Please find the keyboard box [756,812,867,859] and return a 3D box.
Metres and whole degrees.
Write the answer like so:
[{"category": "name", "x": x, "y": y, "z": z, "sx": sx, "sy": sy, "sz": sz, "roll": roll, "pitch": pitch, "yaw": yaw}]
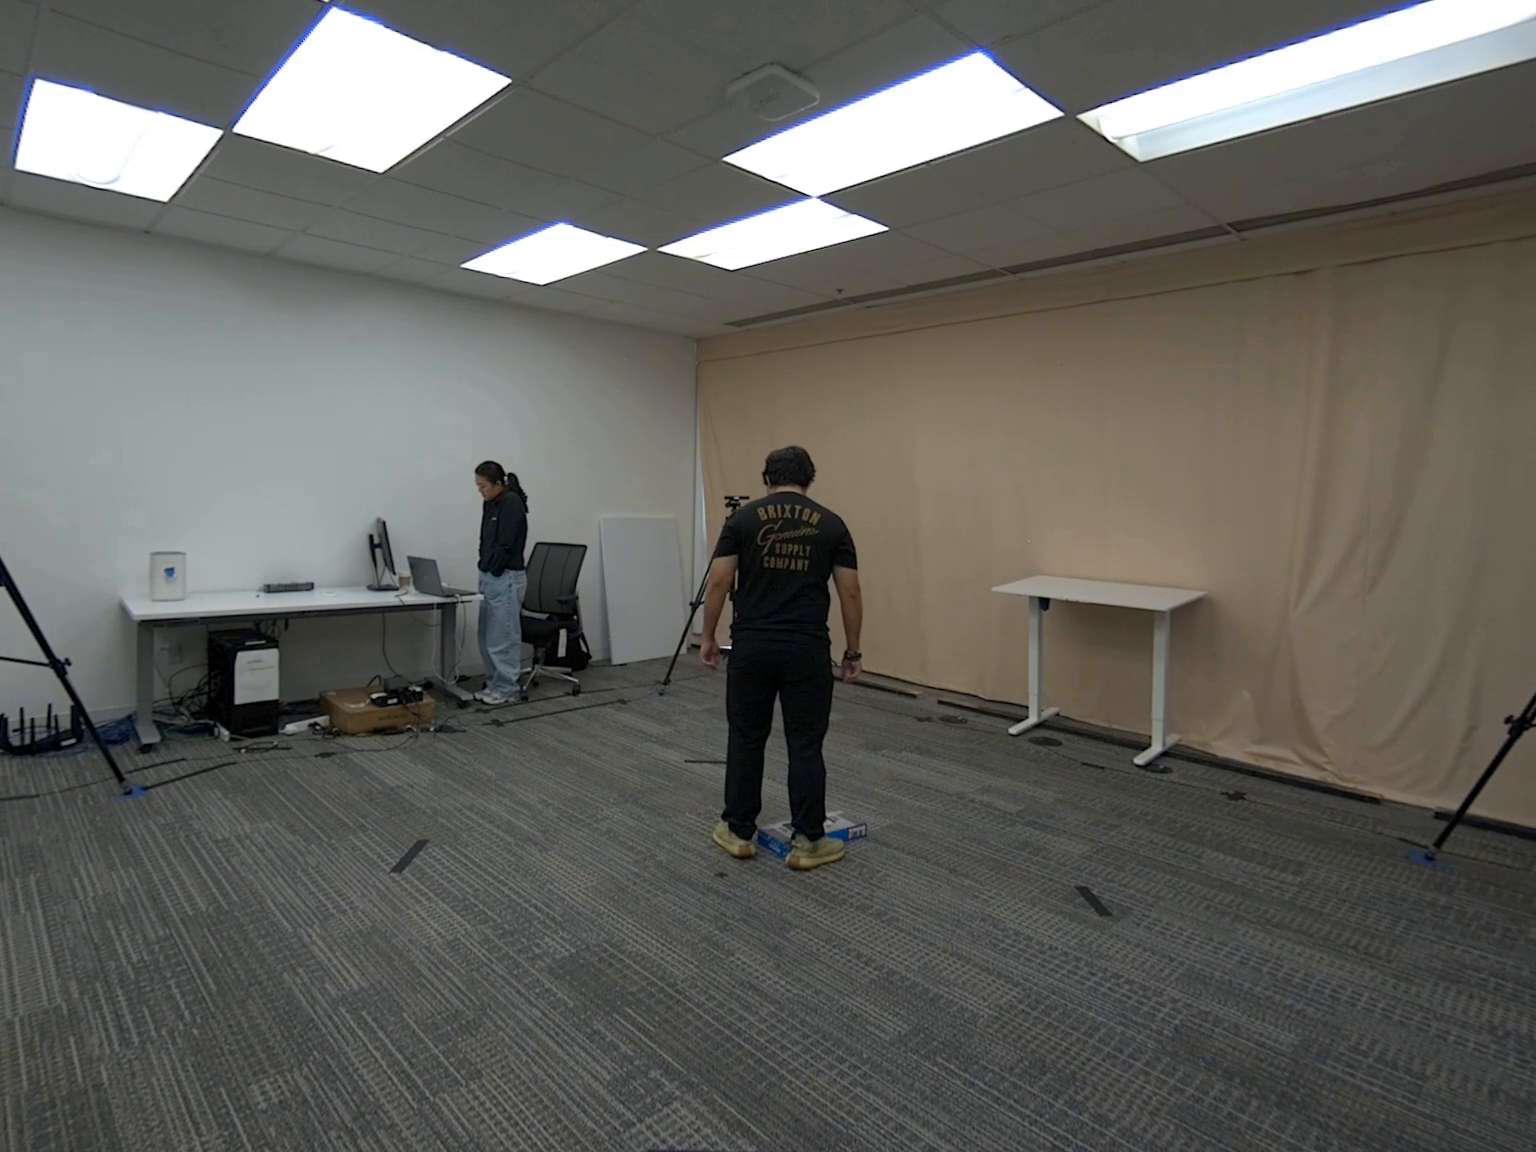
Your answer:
[{"category": "keyboard box", "x": 0.178, "y": 1.051, "z": 3.456, "sx": 0.428, "sy": 0.059, "sz": 0.180, "roll": -2, "pitch": 6, "yaw": -33}]
